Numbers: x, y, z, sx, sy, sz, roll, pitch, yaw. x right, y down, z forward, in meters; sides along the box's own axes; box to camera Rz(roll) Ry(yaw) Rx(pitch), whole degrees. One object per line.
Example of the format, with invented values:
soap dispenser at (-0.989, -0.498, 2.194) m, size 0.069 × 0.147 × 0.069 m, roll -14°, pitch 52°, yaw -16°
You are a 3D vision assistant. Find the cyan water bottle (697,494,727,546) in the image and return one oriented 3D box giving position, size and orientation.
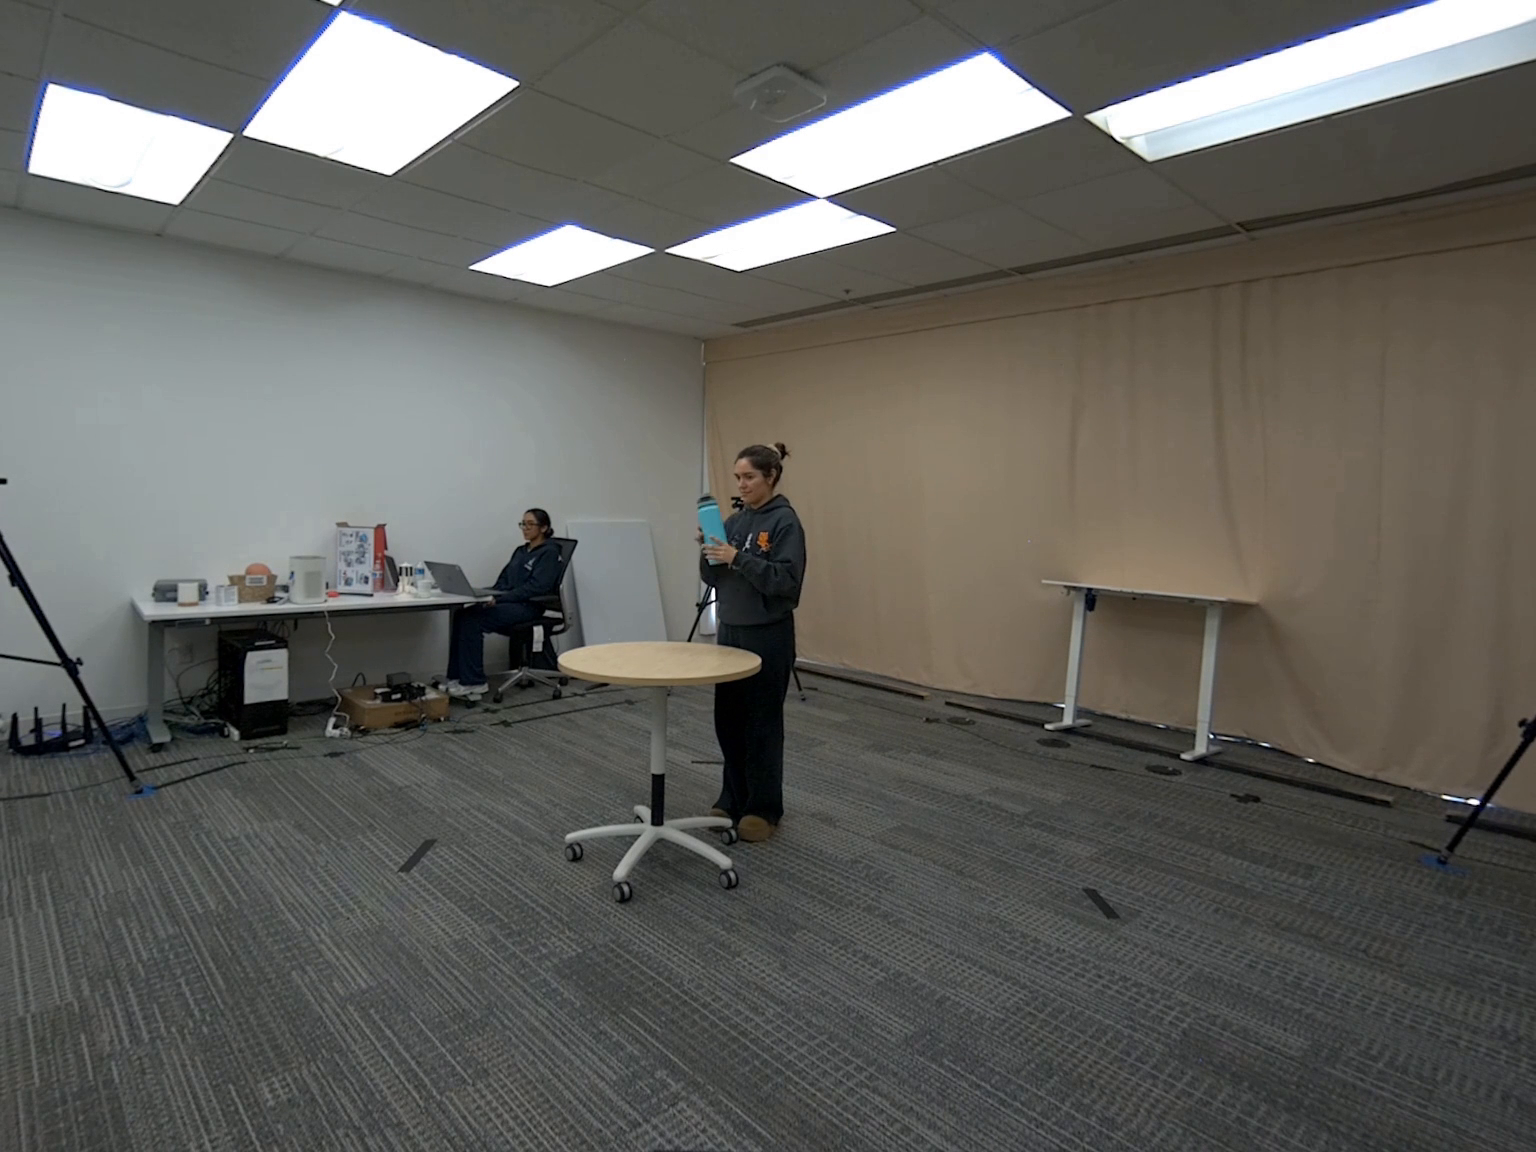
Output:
cyan water bottle at (-0.242, -0.169, 3.382) m, size 0.092 × 0.284 × 0.092 m, roll -11°, pitch -4°, yaw -2°
